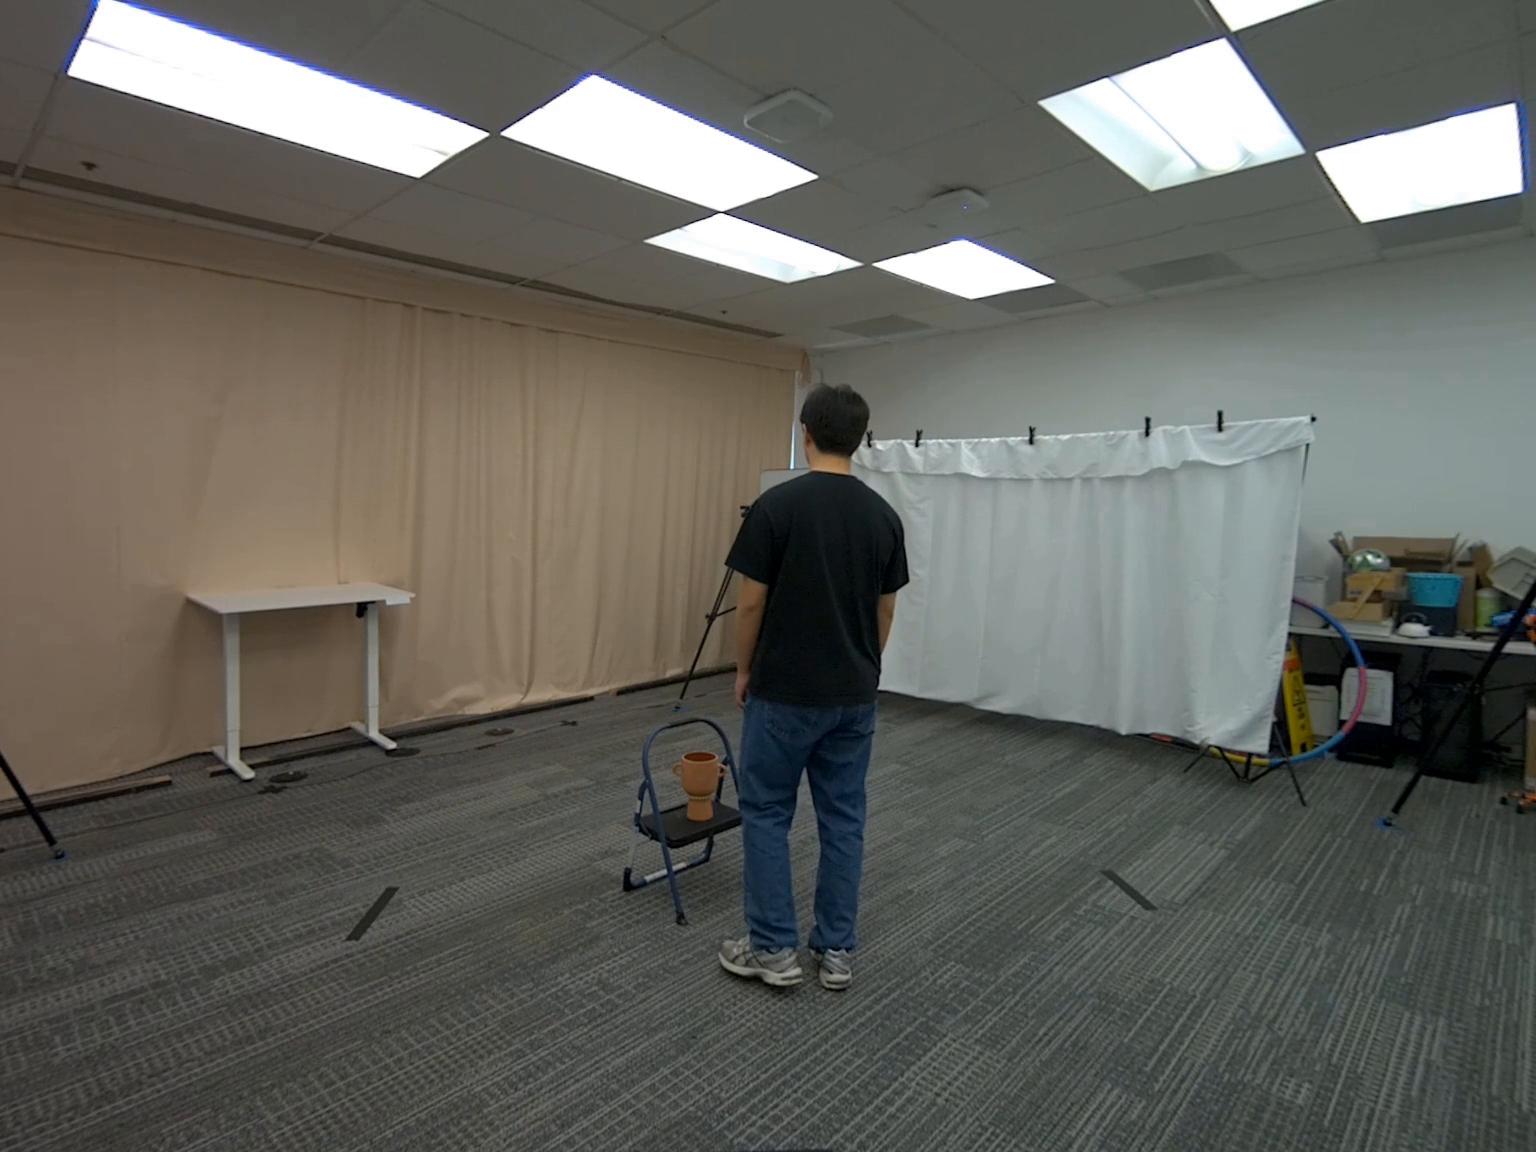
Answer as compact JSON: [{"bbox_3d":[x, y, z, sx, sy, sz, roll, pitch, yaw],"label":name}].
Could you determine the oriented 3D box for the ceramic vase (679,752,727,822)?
[{"bbox_3d":[-0.249,0.766,3.065,0.164,0.219,0.130,5,6,44],"label":"ceramic vase"}]
